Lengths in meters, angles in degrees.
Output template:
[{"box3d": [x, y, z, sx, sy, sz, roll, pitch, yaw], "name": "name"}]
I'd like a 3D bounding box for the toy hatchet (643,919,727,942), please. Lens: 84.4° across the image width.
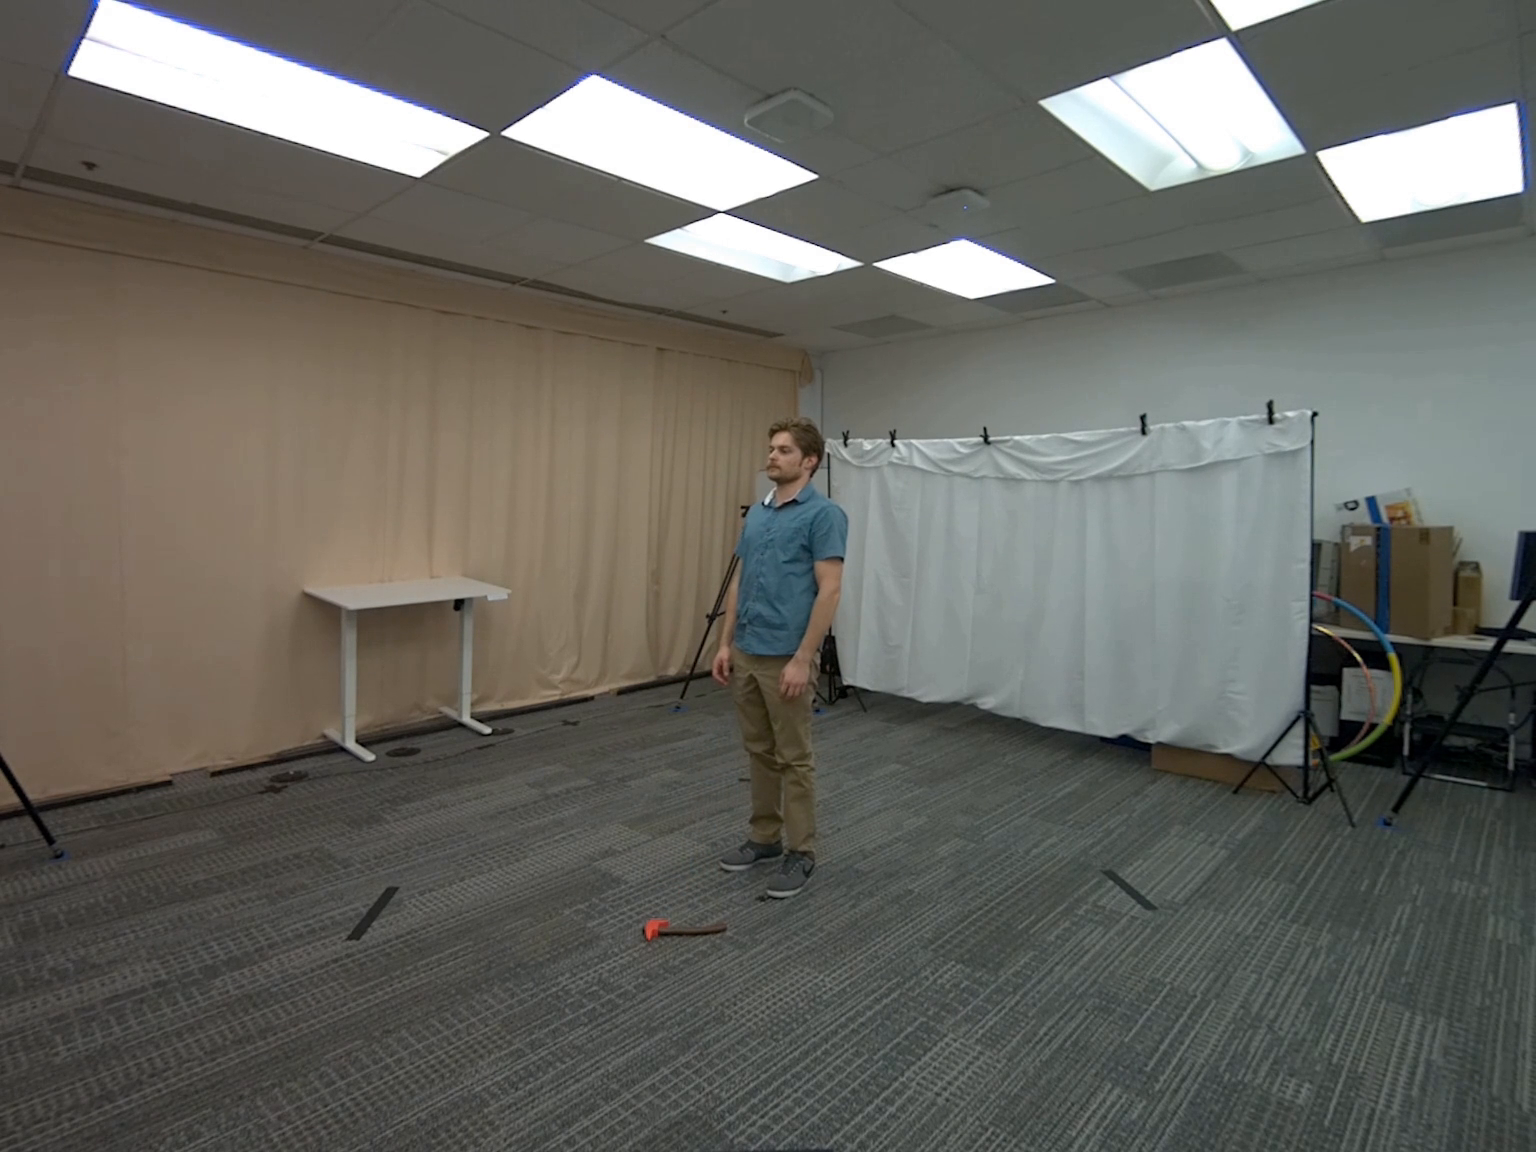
[{"box3d": [-0.279, 1.154, 2.771, 0.265, 0.029, 0.133, 1, 2, -18], "name": "toy hatchet"}]
